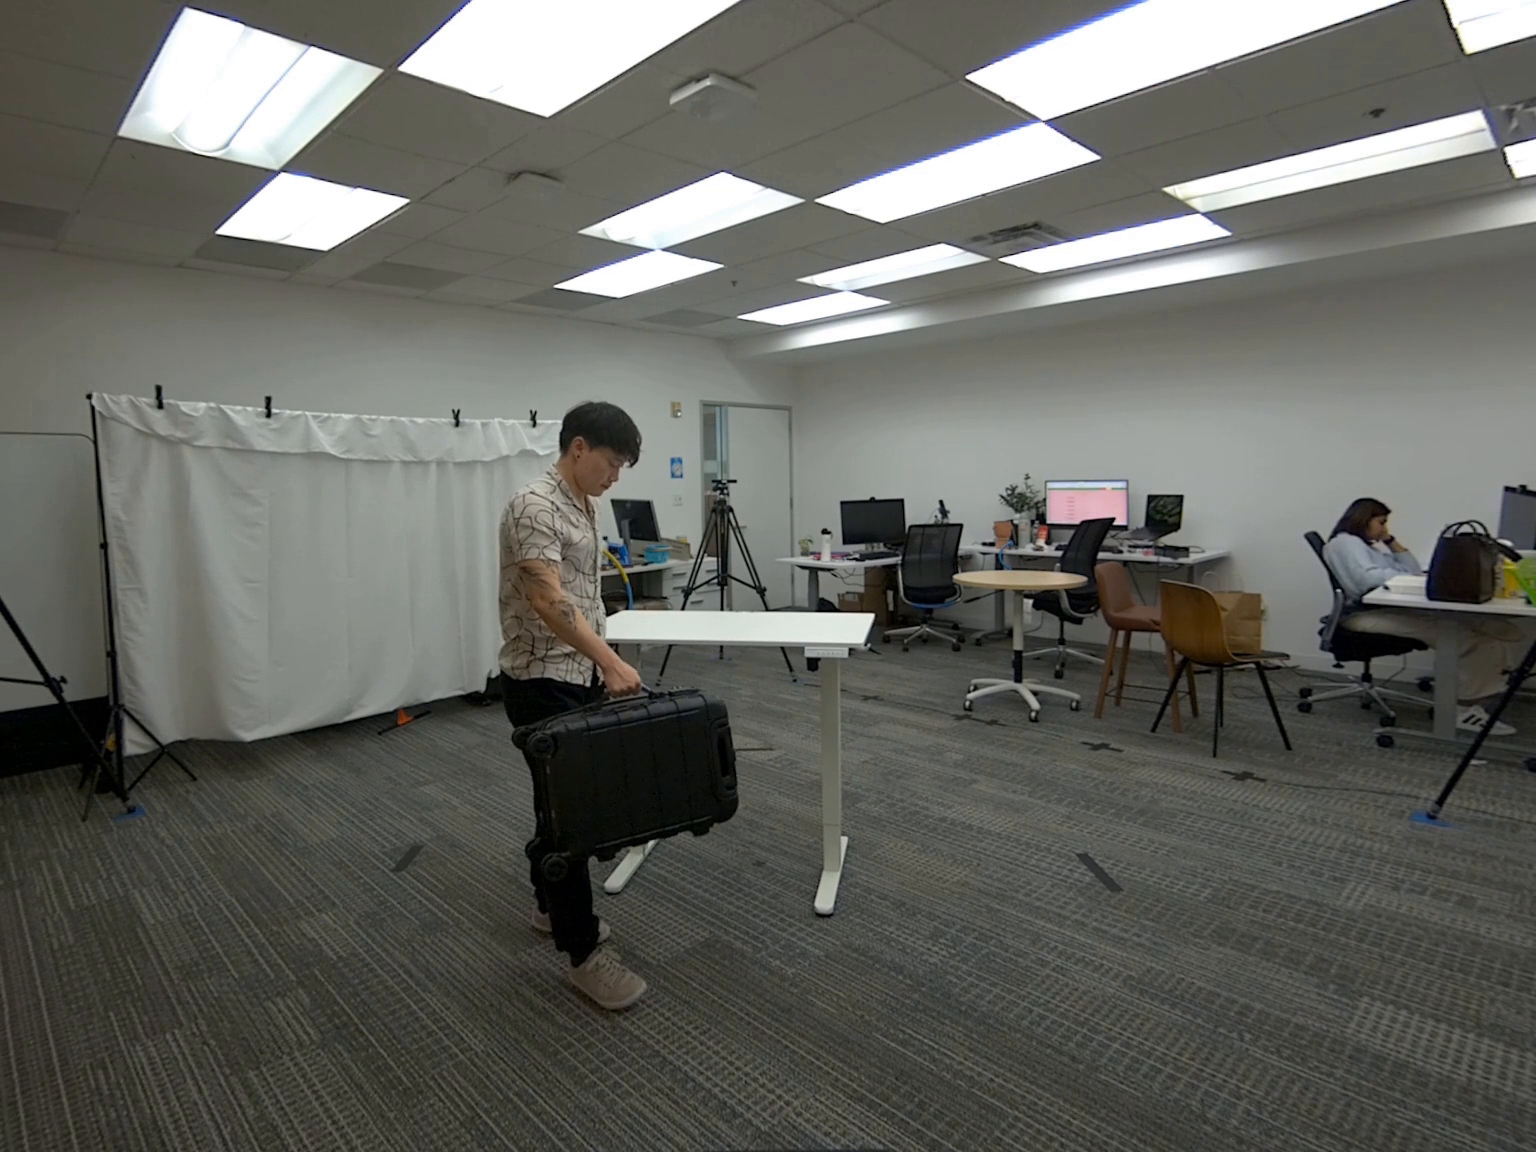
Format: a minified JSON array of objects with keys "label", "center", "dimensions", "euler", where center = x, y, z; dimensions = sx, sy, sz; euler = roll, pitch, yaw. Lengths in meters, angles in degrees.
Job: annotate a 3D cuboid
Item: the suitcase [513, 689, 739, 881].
[{"label":"suitcase","center":[-0.361,0.511,2.253],"dimensions":[0.538,0.377,0.252],"euler":[-8,-4,-26]}]
